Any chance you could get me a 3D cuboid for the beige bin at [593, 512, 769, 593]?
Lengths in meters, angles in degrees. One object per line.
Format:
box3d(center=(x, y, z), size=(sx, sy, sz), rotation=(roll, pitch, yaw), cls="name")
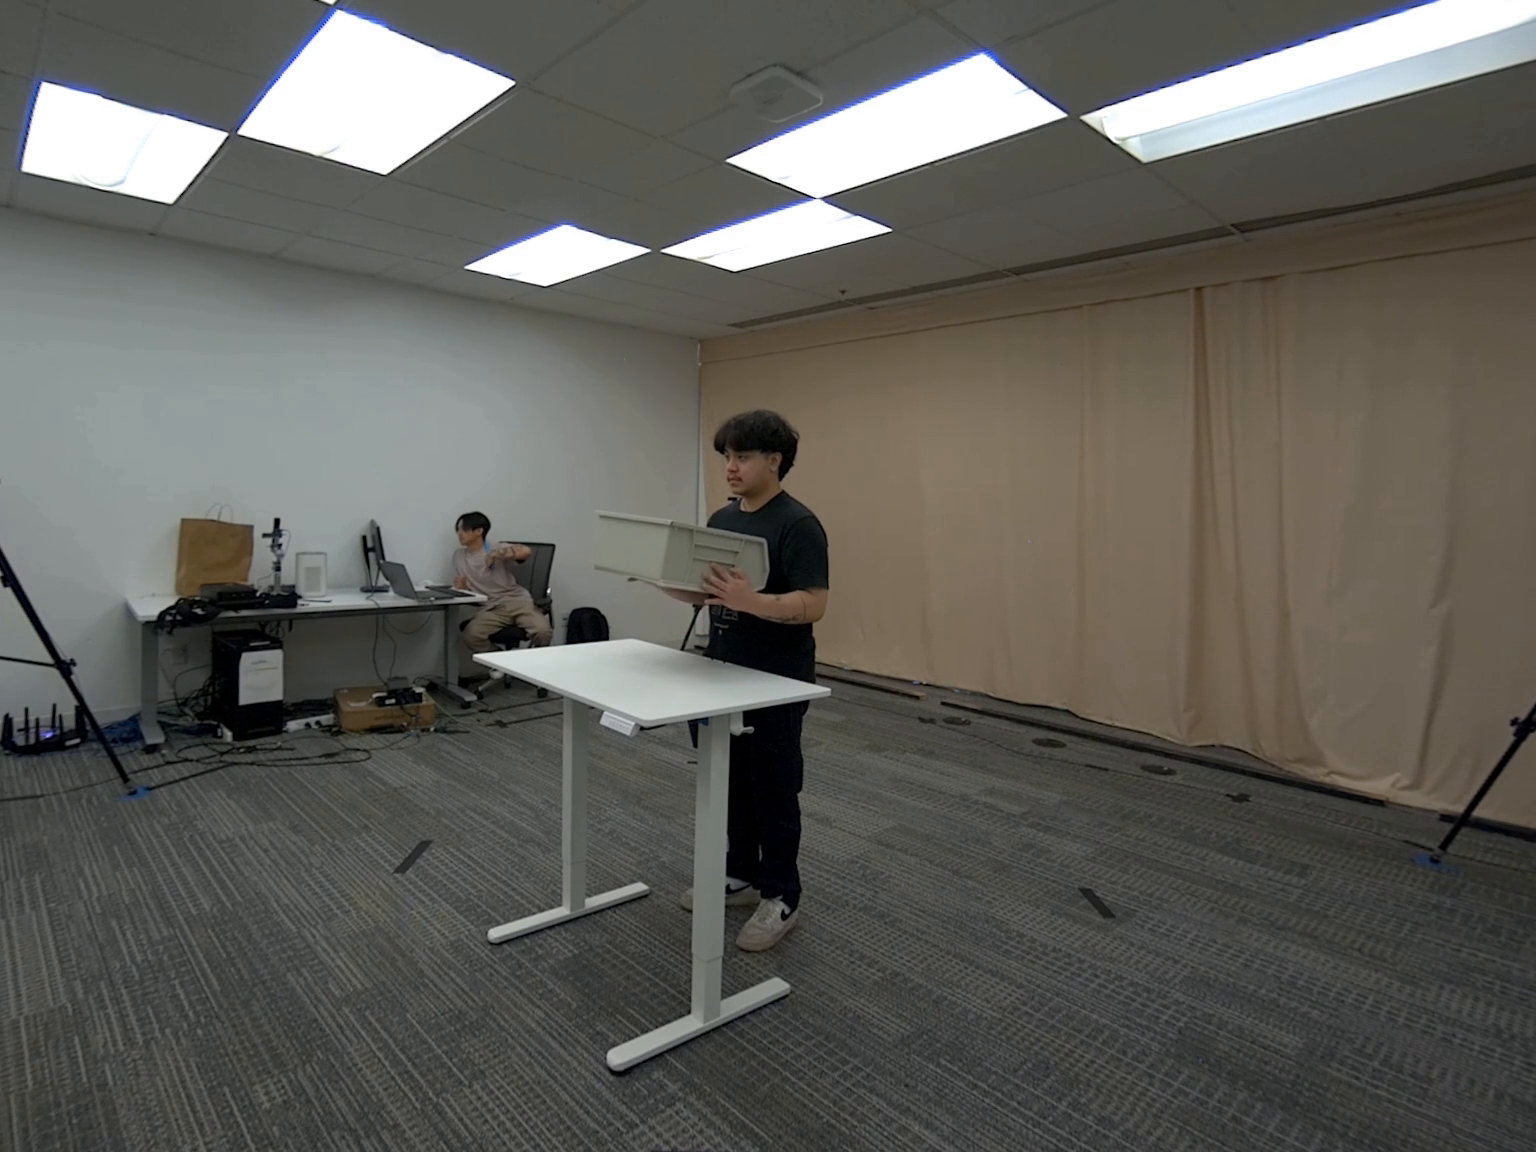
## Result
box3d(center=(-0.276, -0.061, 2.526), size=(0.367, 0.189, 0.434), rotation=(8, 2, -40), cls="beige bin")
